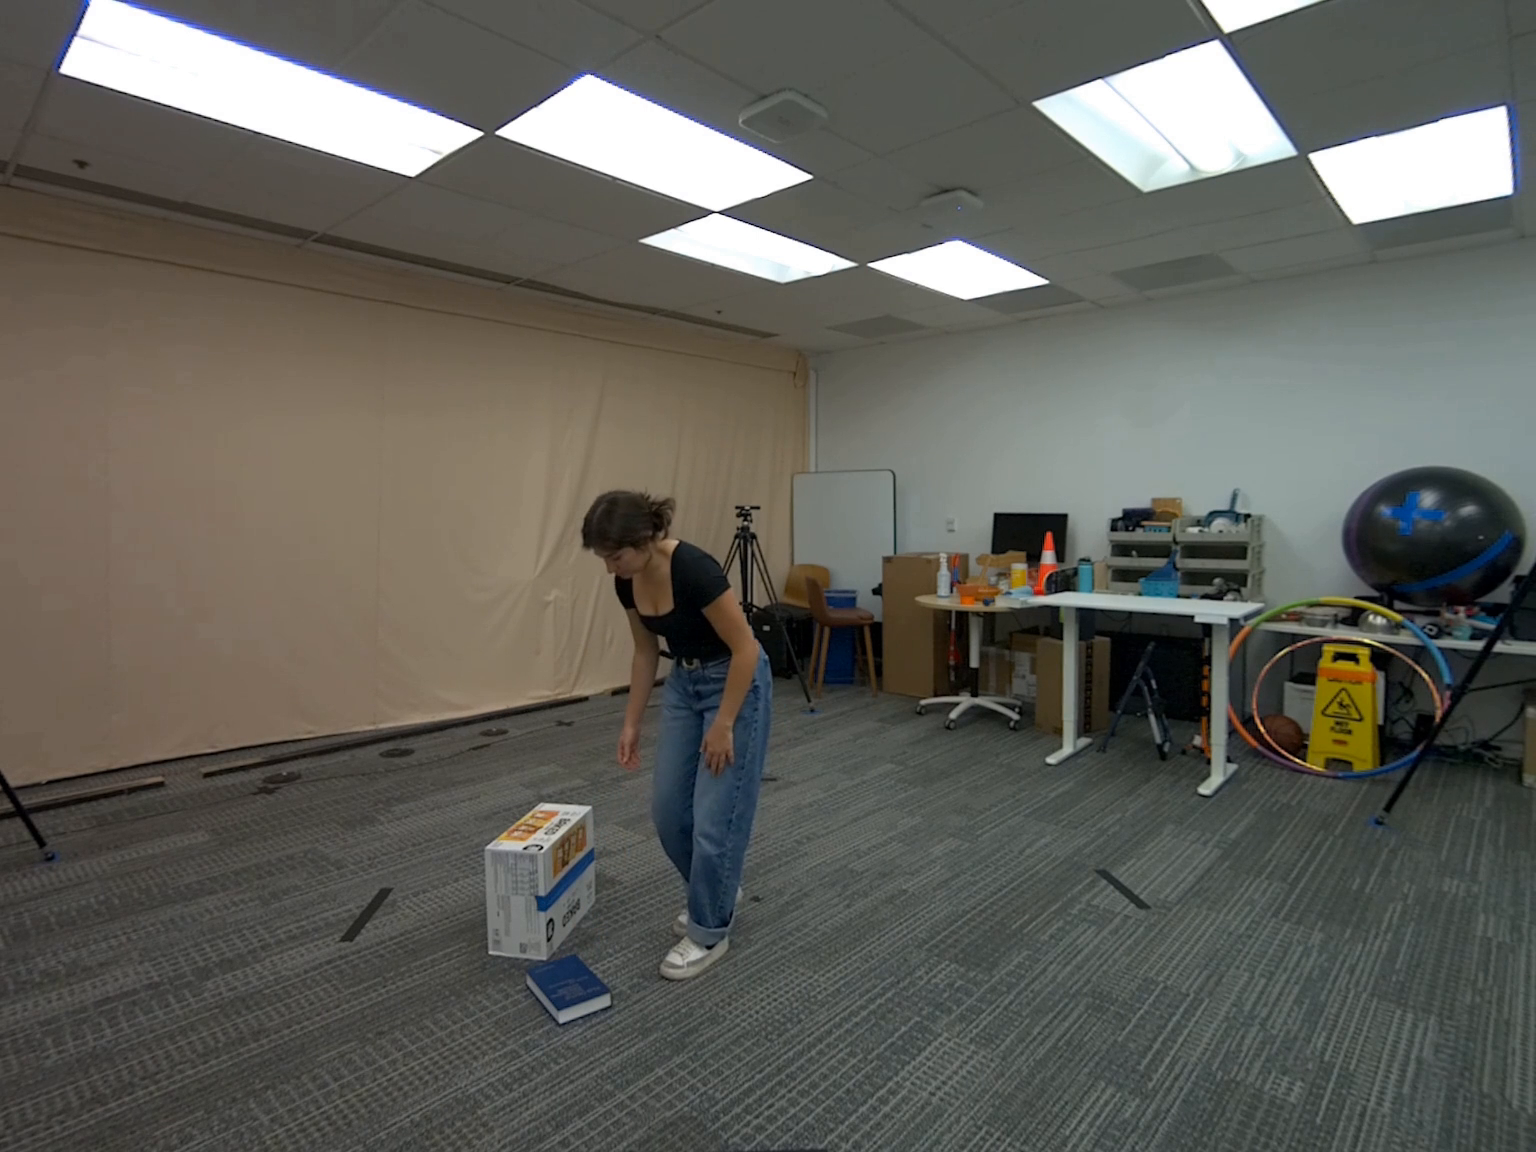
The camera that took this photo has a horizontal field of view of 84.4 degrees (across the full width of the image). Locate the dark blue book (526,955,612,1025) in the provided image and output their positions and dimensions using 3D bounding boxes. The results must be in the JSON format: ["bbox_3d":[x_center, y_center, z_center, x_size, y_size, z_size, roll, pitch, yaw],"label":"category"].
[{"bbox_3d":[-0.571,1.179,2.391,0.159,0.045,0.253,-3,5,-36],"label":"dark blue book"}]
